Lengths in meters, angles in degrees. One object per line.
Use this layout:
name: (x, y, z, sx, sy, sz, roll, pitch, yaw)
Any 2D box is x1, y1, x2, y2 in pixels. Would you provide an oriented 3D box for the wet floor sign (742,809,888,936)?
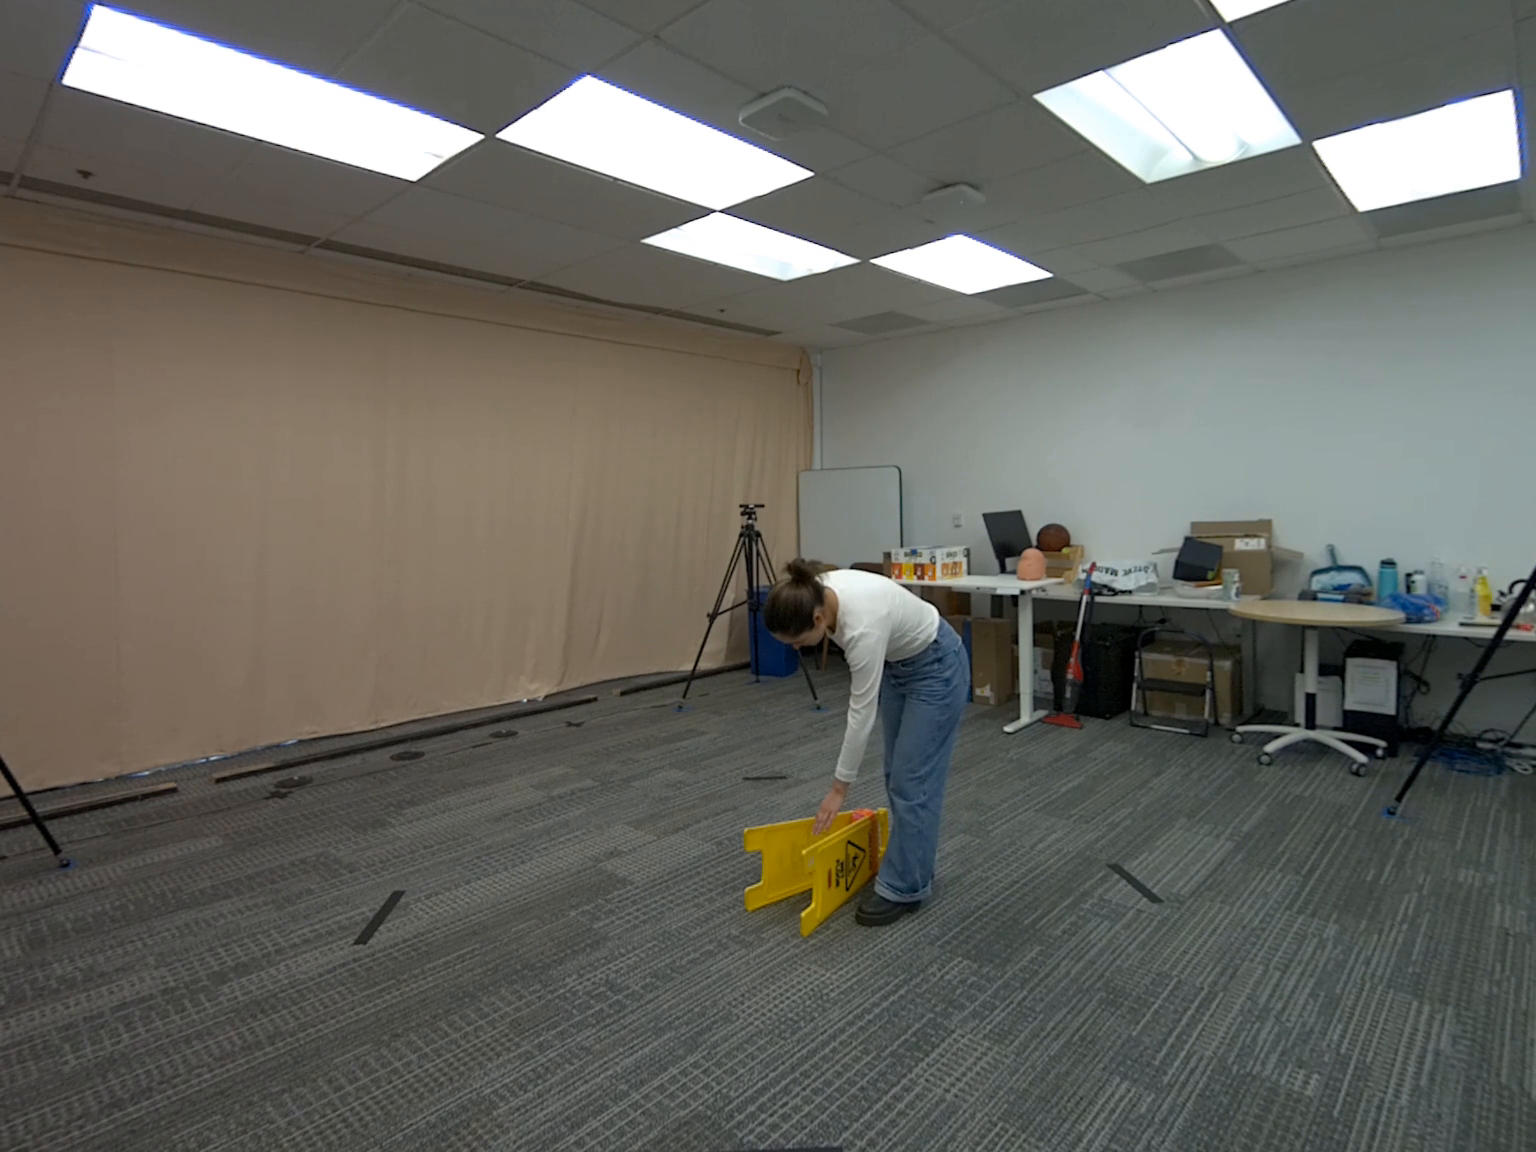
wet floor sign: (0.239, 1.004, 3.015, 0.299, 0.282, 0.626, 4, 5, 44)
